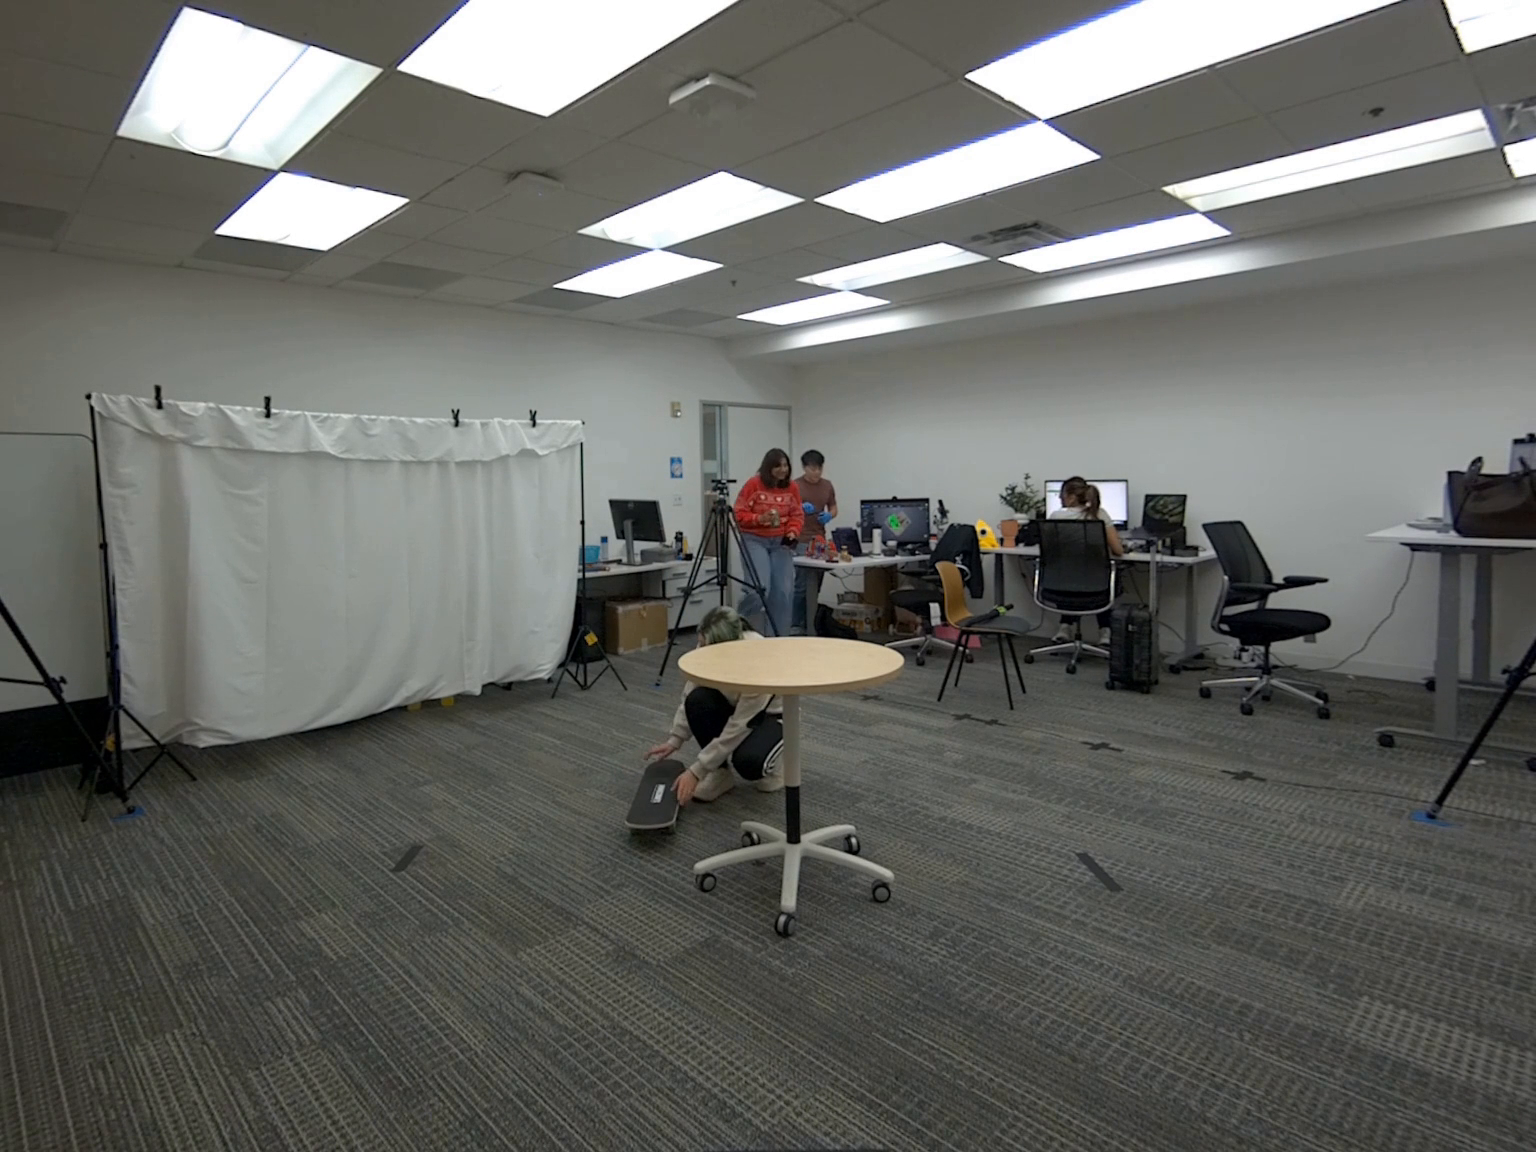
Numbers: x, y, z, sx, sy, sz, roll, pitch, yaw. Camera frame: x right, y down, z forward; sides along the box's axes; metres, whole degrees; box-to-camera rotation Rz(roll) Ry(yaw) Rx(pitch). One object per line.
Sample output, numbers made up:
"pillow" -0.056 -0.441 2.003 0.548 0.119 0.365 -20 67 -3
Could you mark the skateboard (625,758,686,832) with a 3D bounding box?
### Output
"skateboard" -0.456 0.944 3.587 0.194 0.110 0.787 -1 5 0
